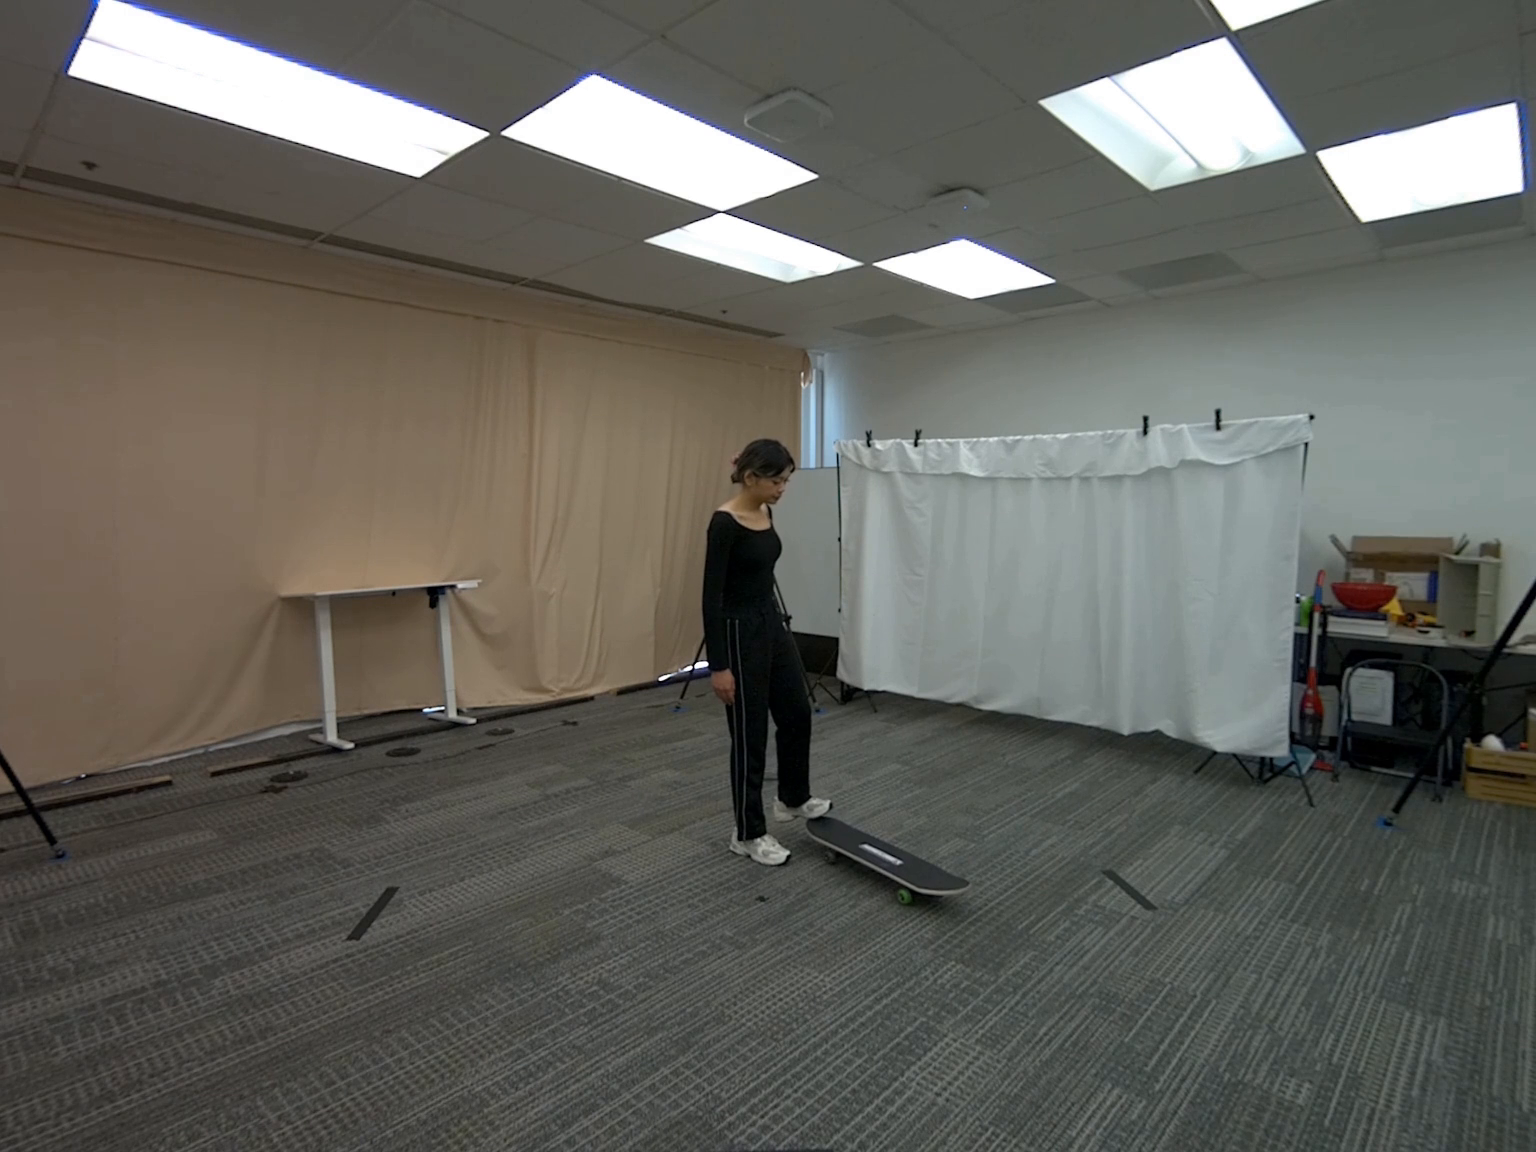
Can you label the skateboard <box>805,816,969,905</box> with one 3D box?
[{"bbox_3d":[0.430,1.070,3.146,0.188,0.110,0.810,-3,5,-35],"label":"skateboard"}]
